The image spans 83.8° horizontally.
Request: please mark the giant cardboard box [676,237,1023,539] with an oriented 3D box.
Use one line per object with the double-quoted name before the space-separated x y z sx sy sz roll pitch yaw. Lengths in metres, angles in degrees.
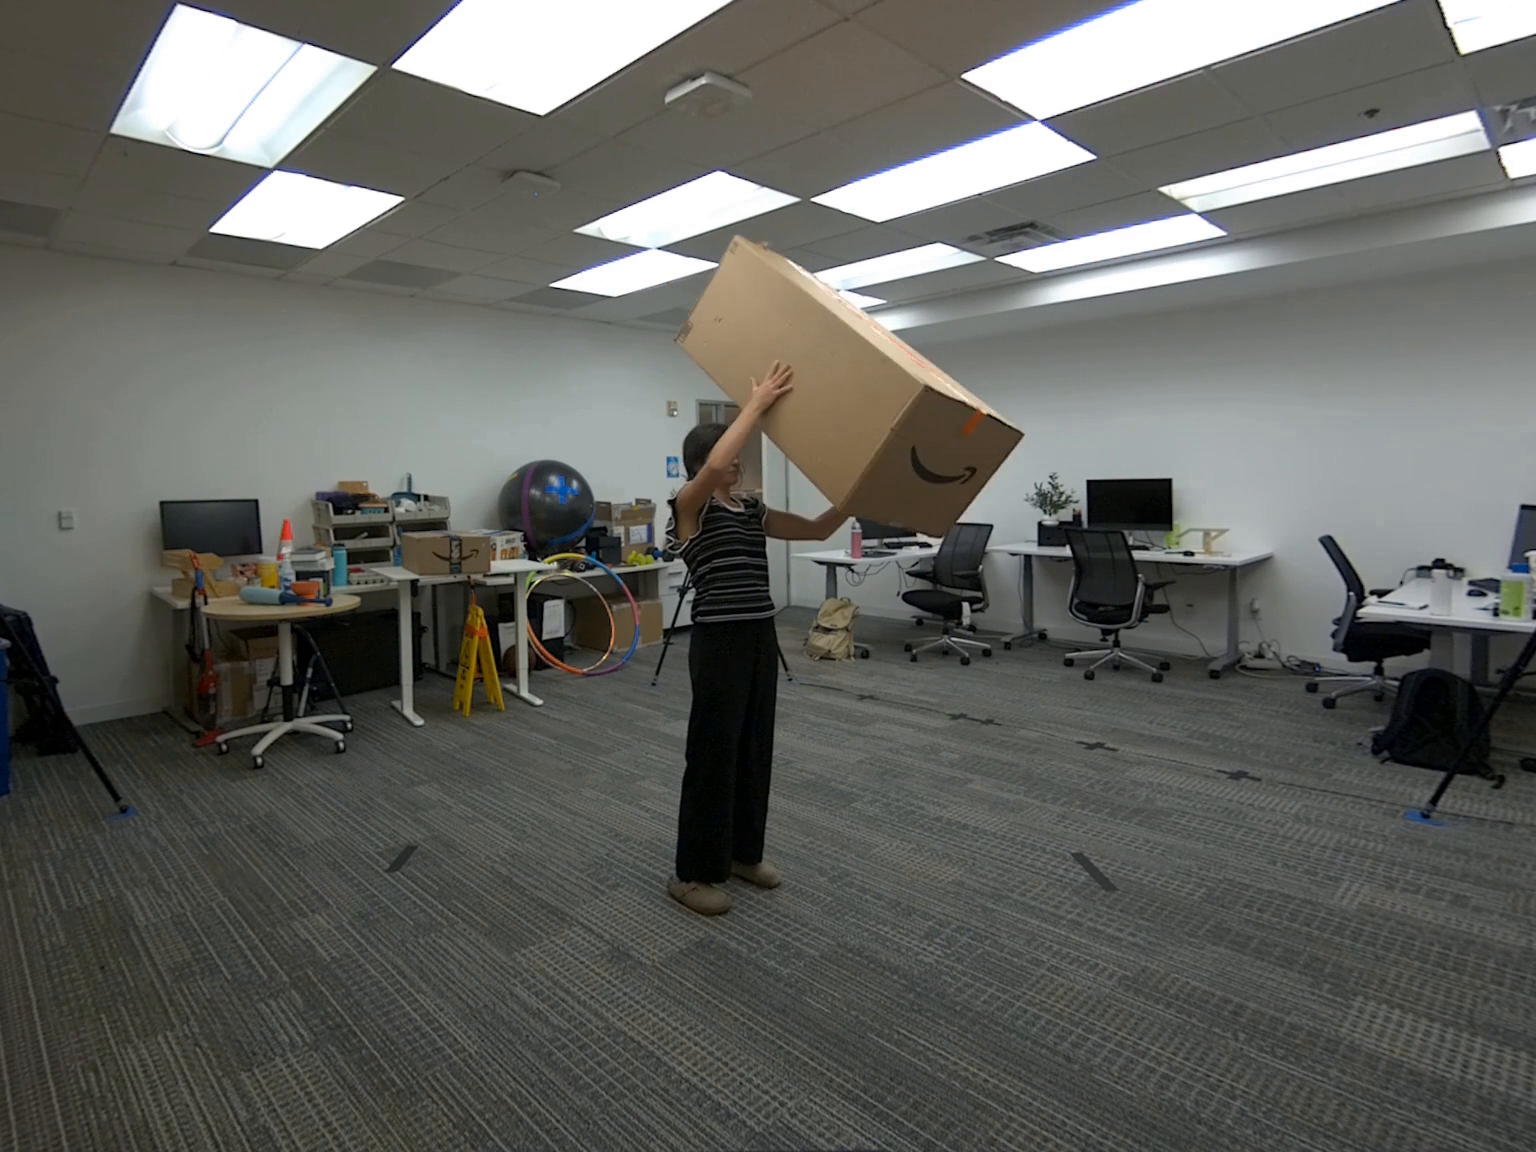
"giant cardboard box" 0.228 -0.633 2.834 0.558 0.424 1.066 11 31 -46
